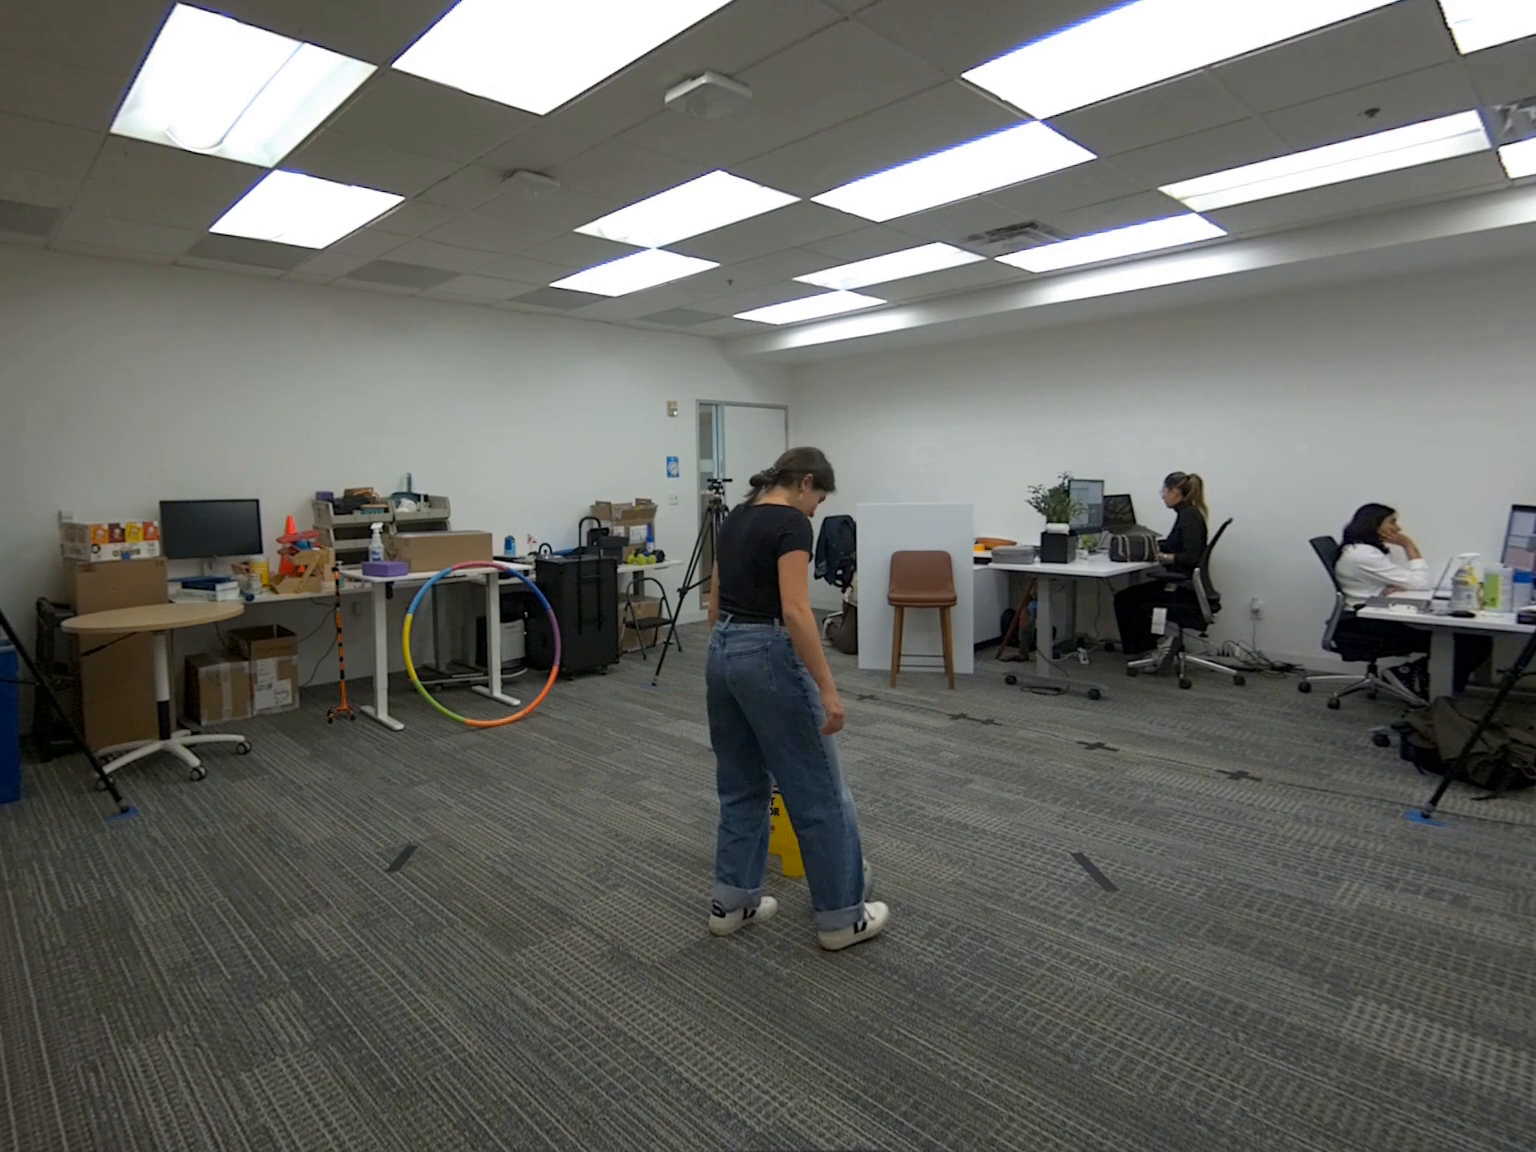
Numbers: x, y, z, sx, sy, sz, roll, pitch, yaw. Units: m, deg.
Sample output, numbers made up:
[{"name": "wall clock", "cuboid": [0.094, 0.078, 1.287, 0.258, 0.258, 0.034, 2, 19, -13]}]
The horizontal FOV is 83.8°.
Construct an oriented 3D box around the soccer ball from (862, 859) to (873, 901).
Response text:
[{"name": "soccer ball", "cuboid": [0.257, 0.980, 2.764, 0.187, 0.187, 0.188, -1, 5, -2]}]
